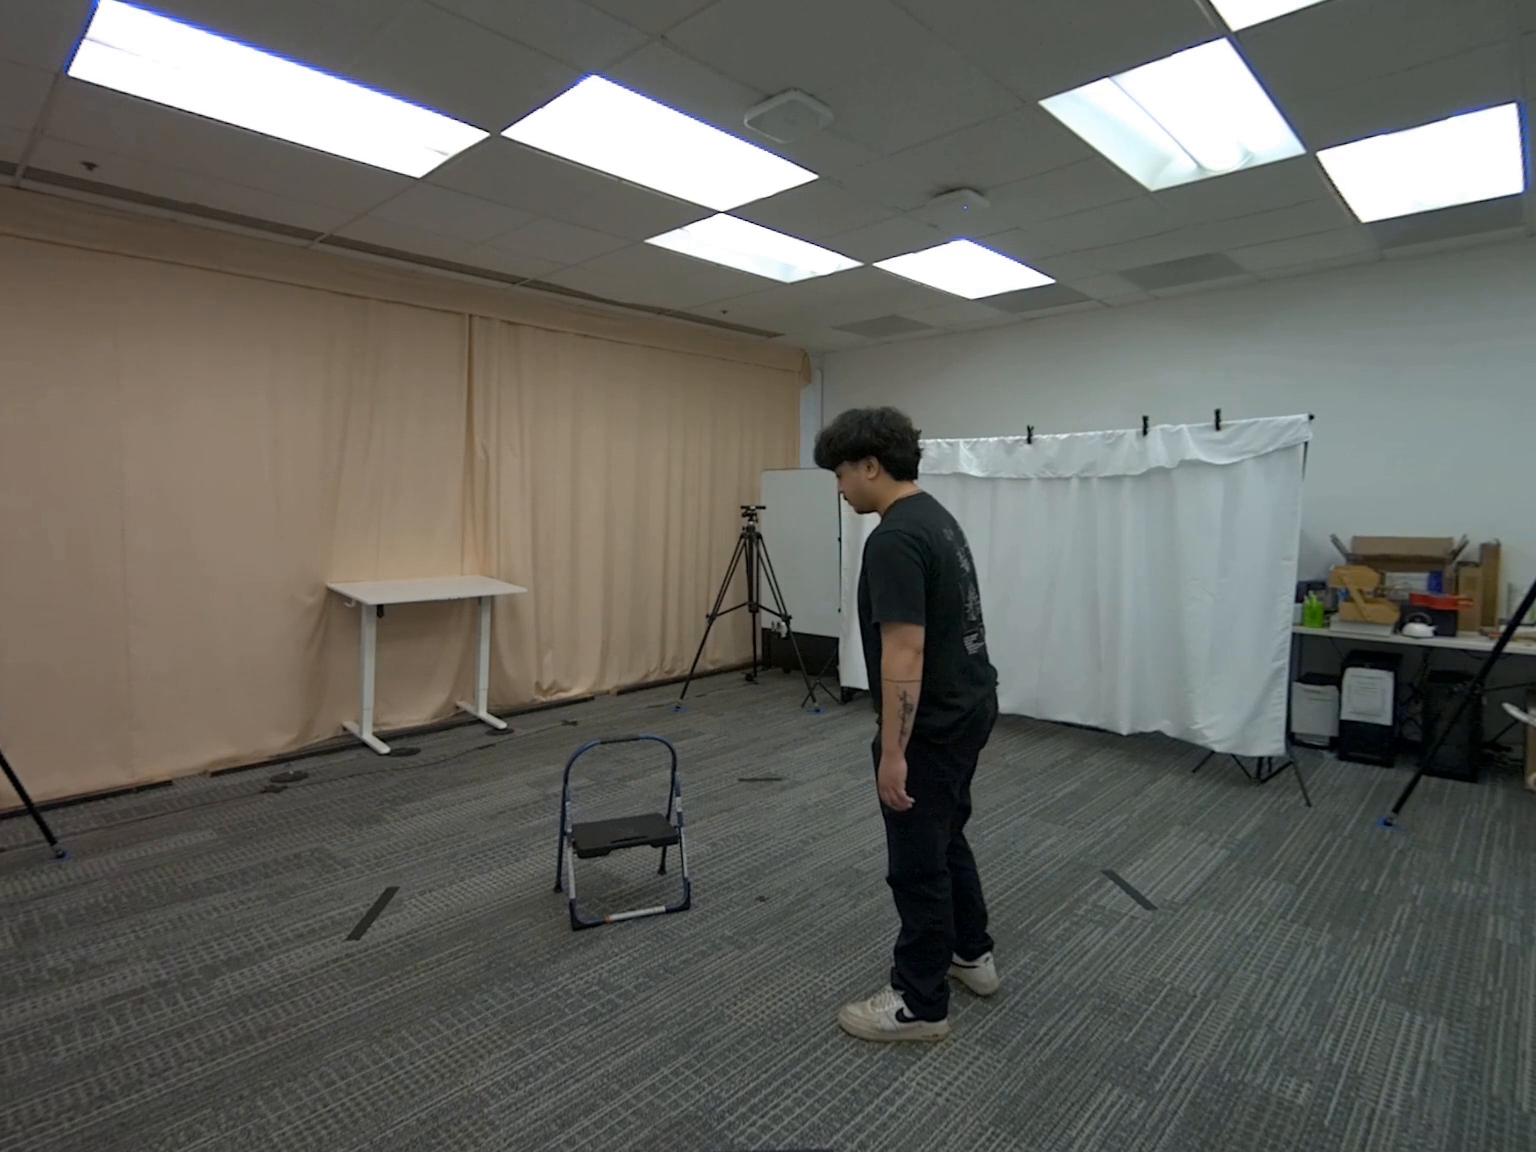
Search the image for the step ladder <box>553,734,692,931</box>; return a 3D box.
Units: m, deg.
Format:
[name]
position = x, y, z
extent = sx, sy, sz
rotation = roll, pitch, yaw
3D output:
[step ladder]
position = -0.523, 0.845, 2.974
extent = 0.421, 0.605, 0.358
rotation = -2, 4, -23
